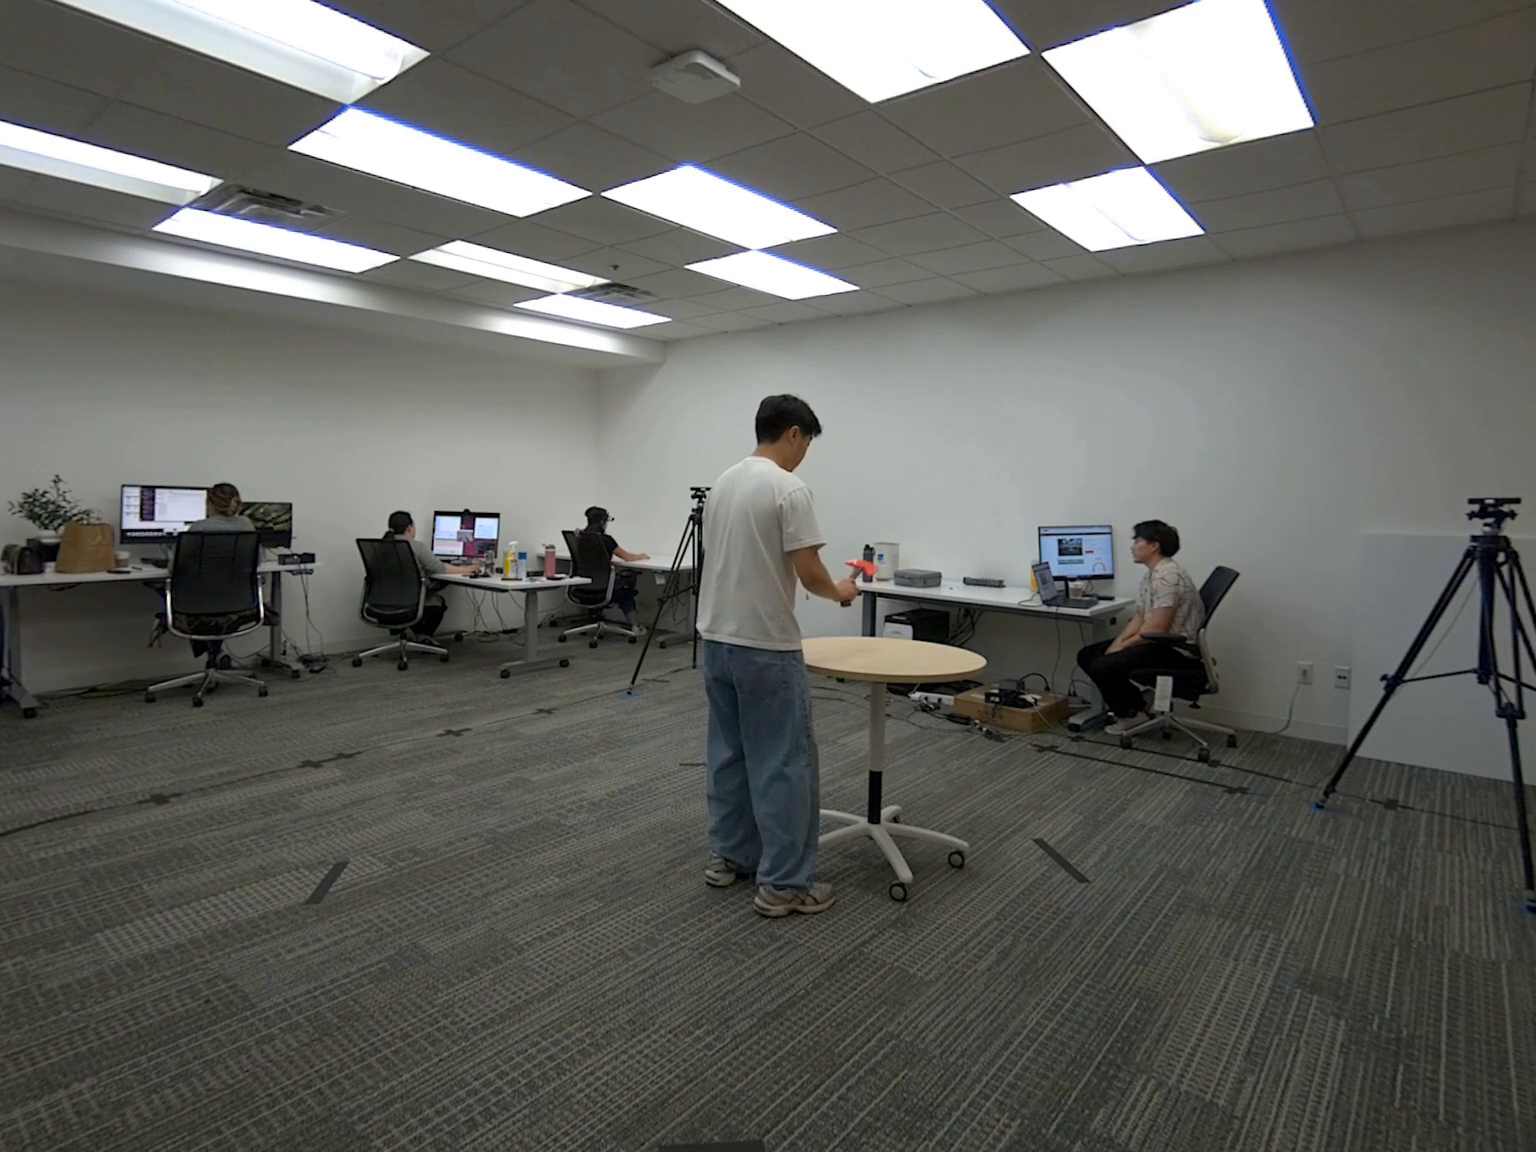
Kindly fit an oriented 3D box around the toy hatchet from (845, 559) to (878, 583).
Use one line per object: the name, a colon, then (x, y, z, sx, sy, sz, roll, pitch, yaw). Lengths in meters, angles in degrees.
toy hatchet: (0.337, 0.051, 3.071, 0.132, 0.029, 0.275, 1, 35, 7)
